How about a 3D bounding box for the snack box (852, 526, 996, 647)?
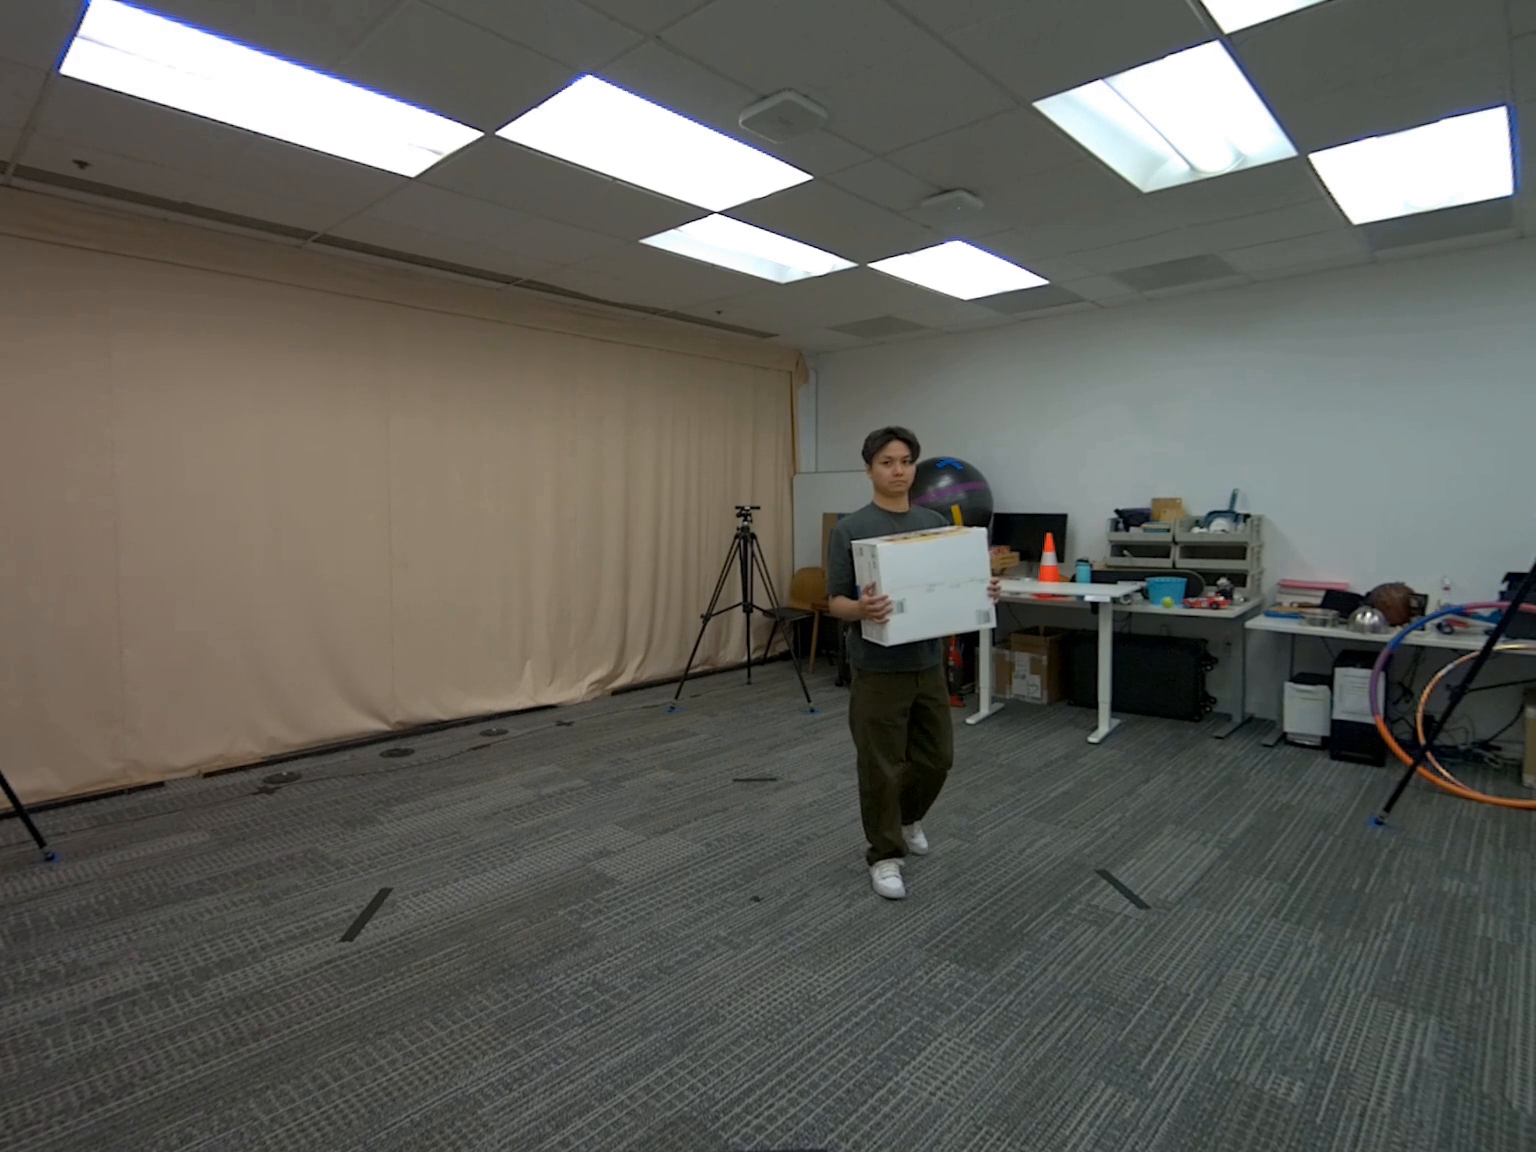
[{"bbox_3d":[0.529,0.025,2.863,0.400,0.339,0.209,-8,5,-14],"label":"snack box"}]
